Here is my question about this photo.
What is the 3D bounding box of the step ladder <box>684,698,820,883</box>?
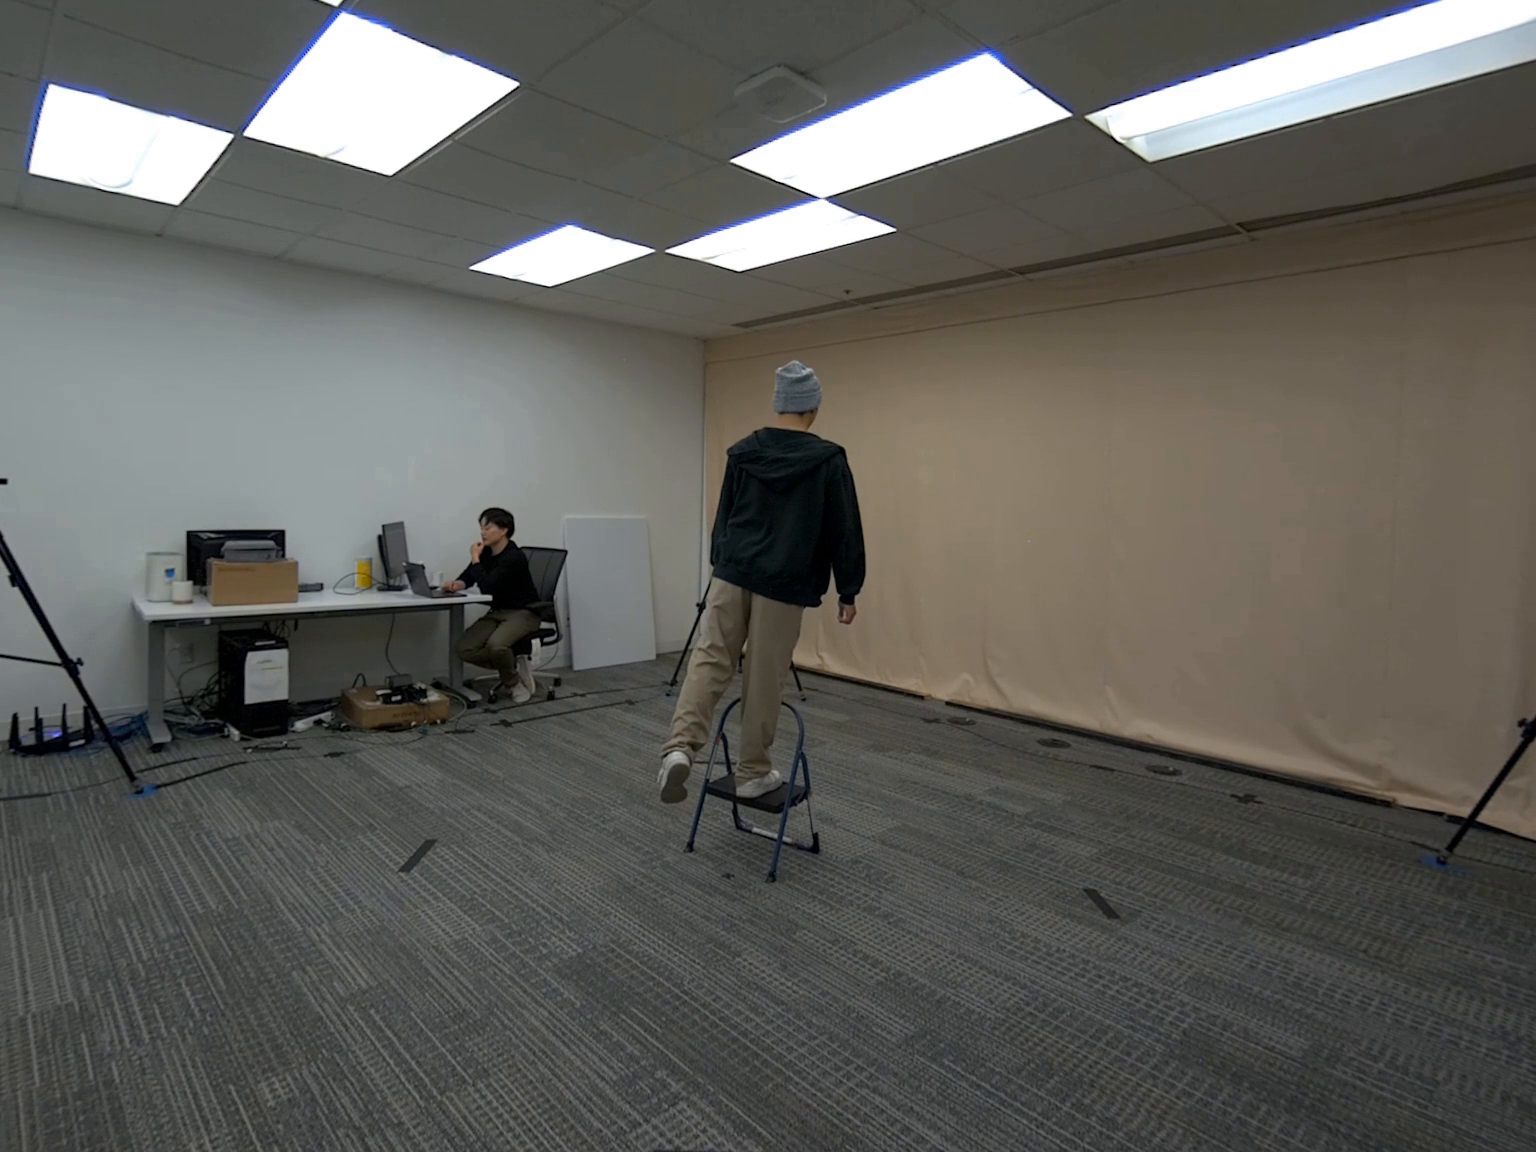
[{"bbox_3d":[-0.056,0.790,3.308,0.441,0.605,0.341,4,4,36],"label":"step ladder"}]
